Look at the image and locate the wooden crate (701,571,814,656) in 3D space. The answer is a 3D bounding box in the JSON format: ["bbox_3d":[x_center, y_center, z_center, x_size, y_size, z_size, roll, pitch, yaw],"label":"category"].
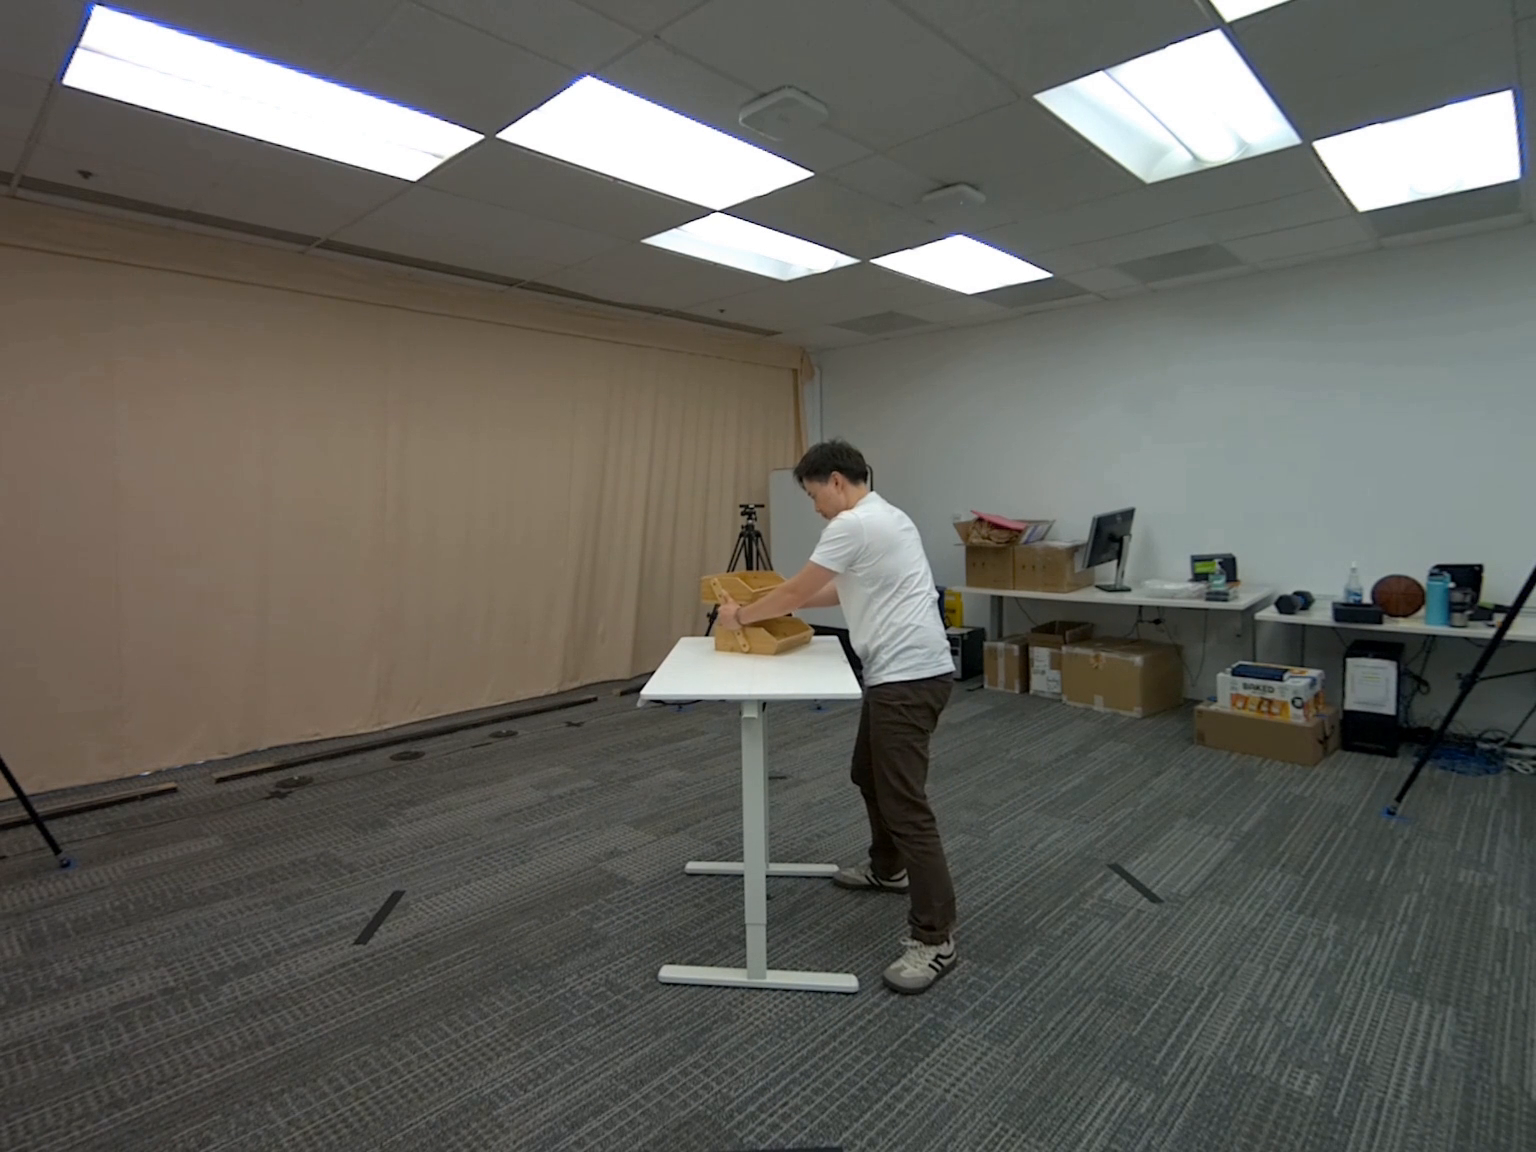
[{"bbox_3d":[-0.030,0.122,3.023,0.310,0.273,0.316,0,4,29],"label":"wooden crate"}]
